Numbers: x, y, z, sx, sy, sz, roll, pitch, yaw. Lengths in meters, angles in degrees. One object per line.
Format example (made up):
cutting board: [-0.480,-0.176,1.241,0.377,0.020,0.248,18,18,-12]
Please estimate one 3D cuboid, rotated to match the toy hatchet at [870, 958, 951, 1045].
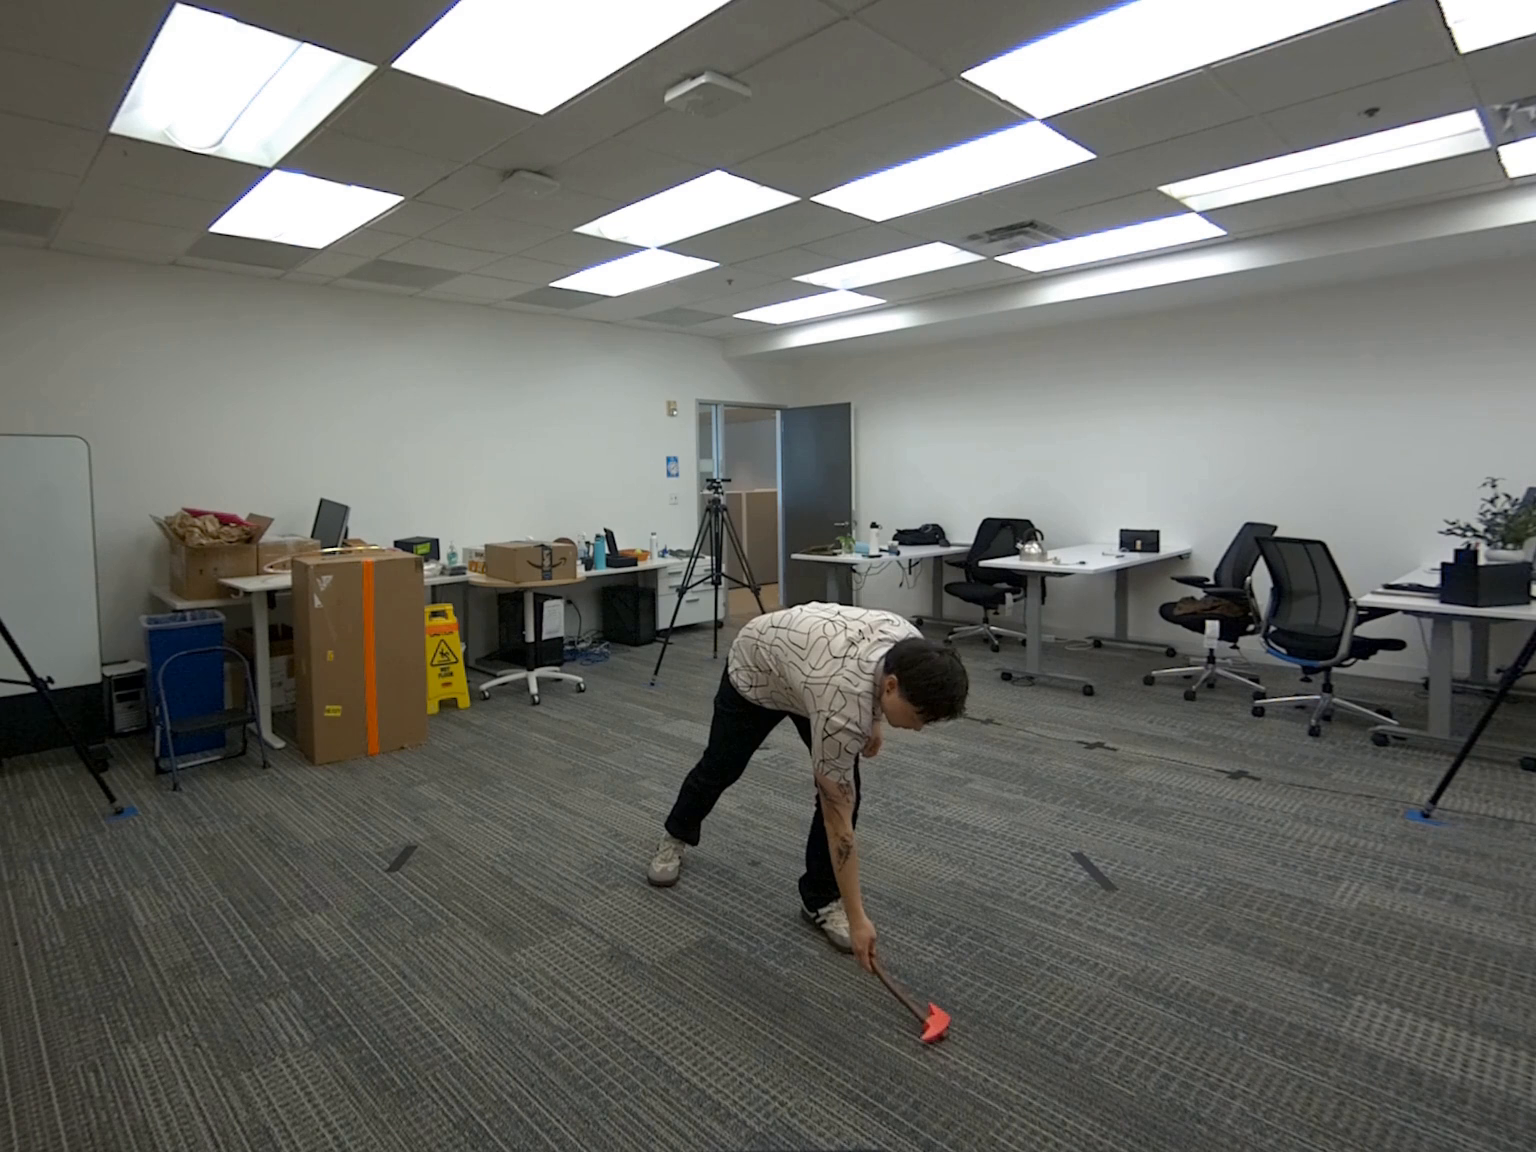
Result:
toy hatchet: [0.375,1.080,2.218,0.127,0.029,0.280,6,20,-31]
